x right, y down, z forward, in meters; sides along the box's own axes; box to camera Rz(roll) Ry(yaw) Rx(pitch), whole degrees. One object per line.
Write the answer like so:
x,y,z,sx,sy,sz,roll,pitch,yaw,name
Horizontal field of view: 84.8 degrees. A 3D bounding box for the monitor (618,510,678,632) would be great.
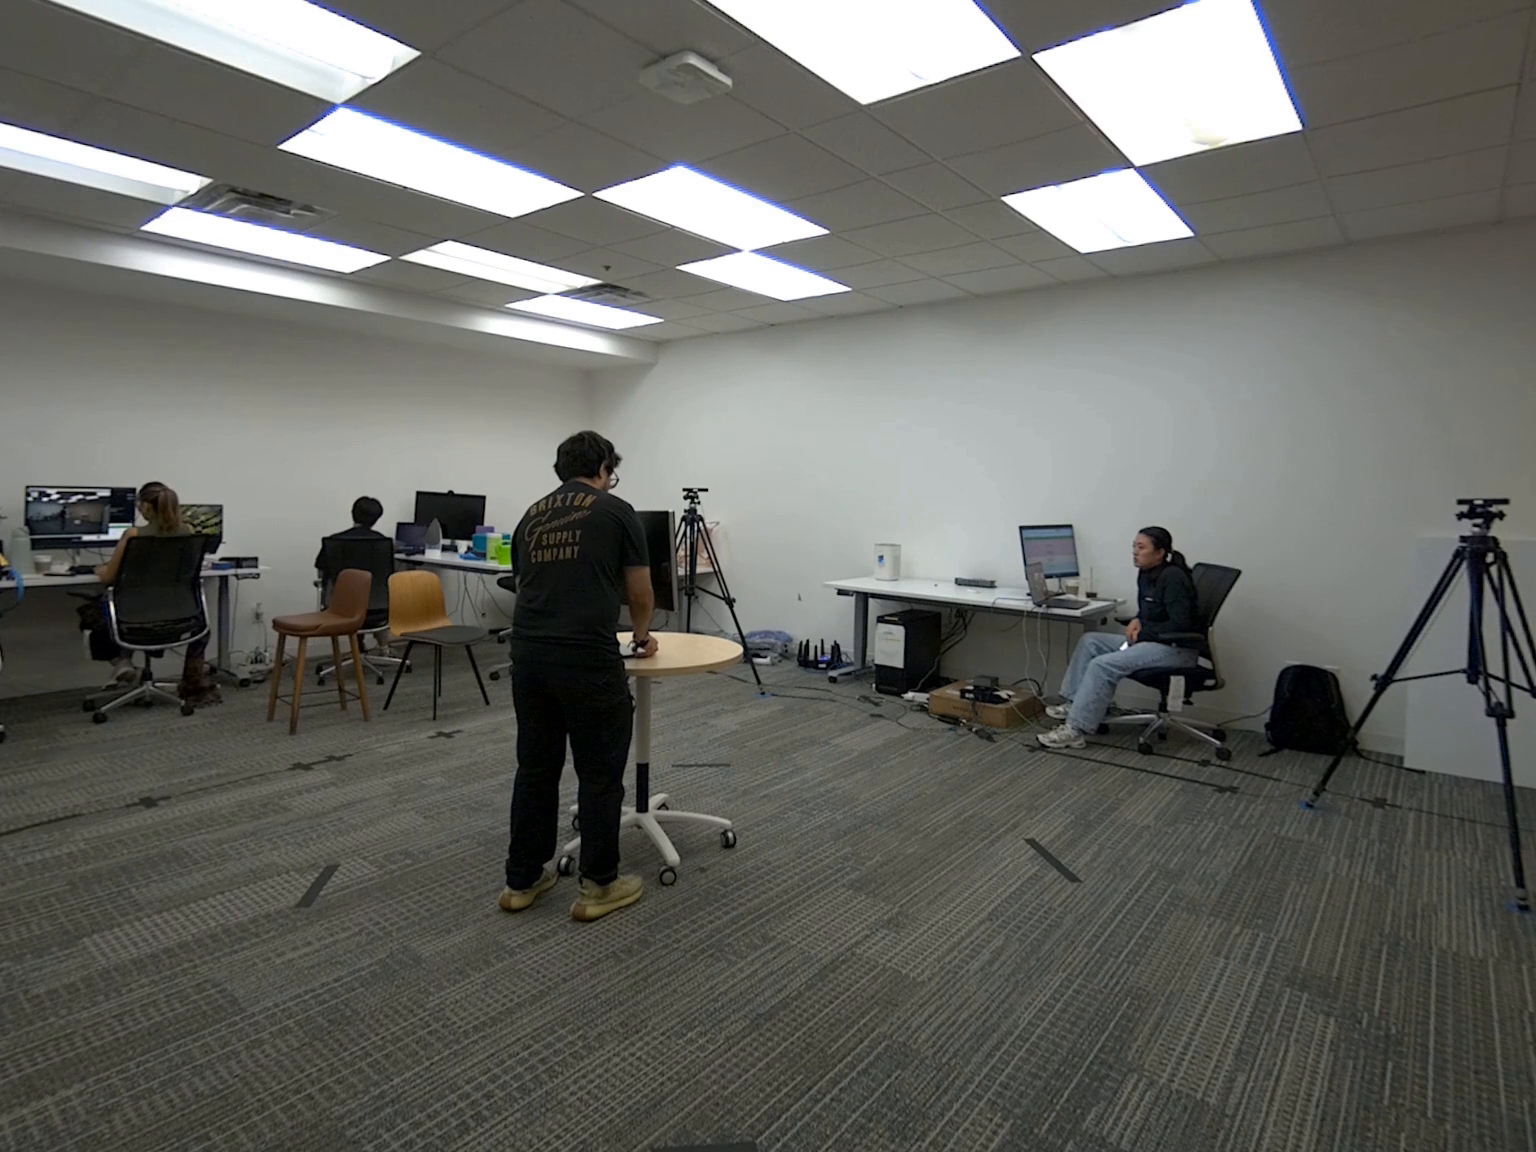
-0.596,0.019,3.150,0.585,0.552,0.204,5,6,44,monitor
